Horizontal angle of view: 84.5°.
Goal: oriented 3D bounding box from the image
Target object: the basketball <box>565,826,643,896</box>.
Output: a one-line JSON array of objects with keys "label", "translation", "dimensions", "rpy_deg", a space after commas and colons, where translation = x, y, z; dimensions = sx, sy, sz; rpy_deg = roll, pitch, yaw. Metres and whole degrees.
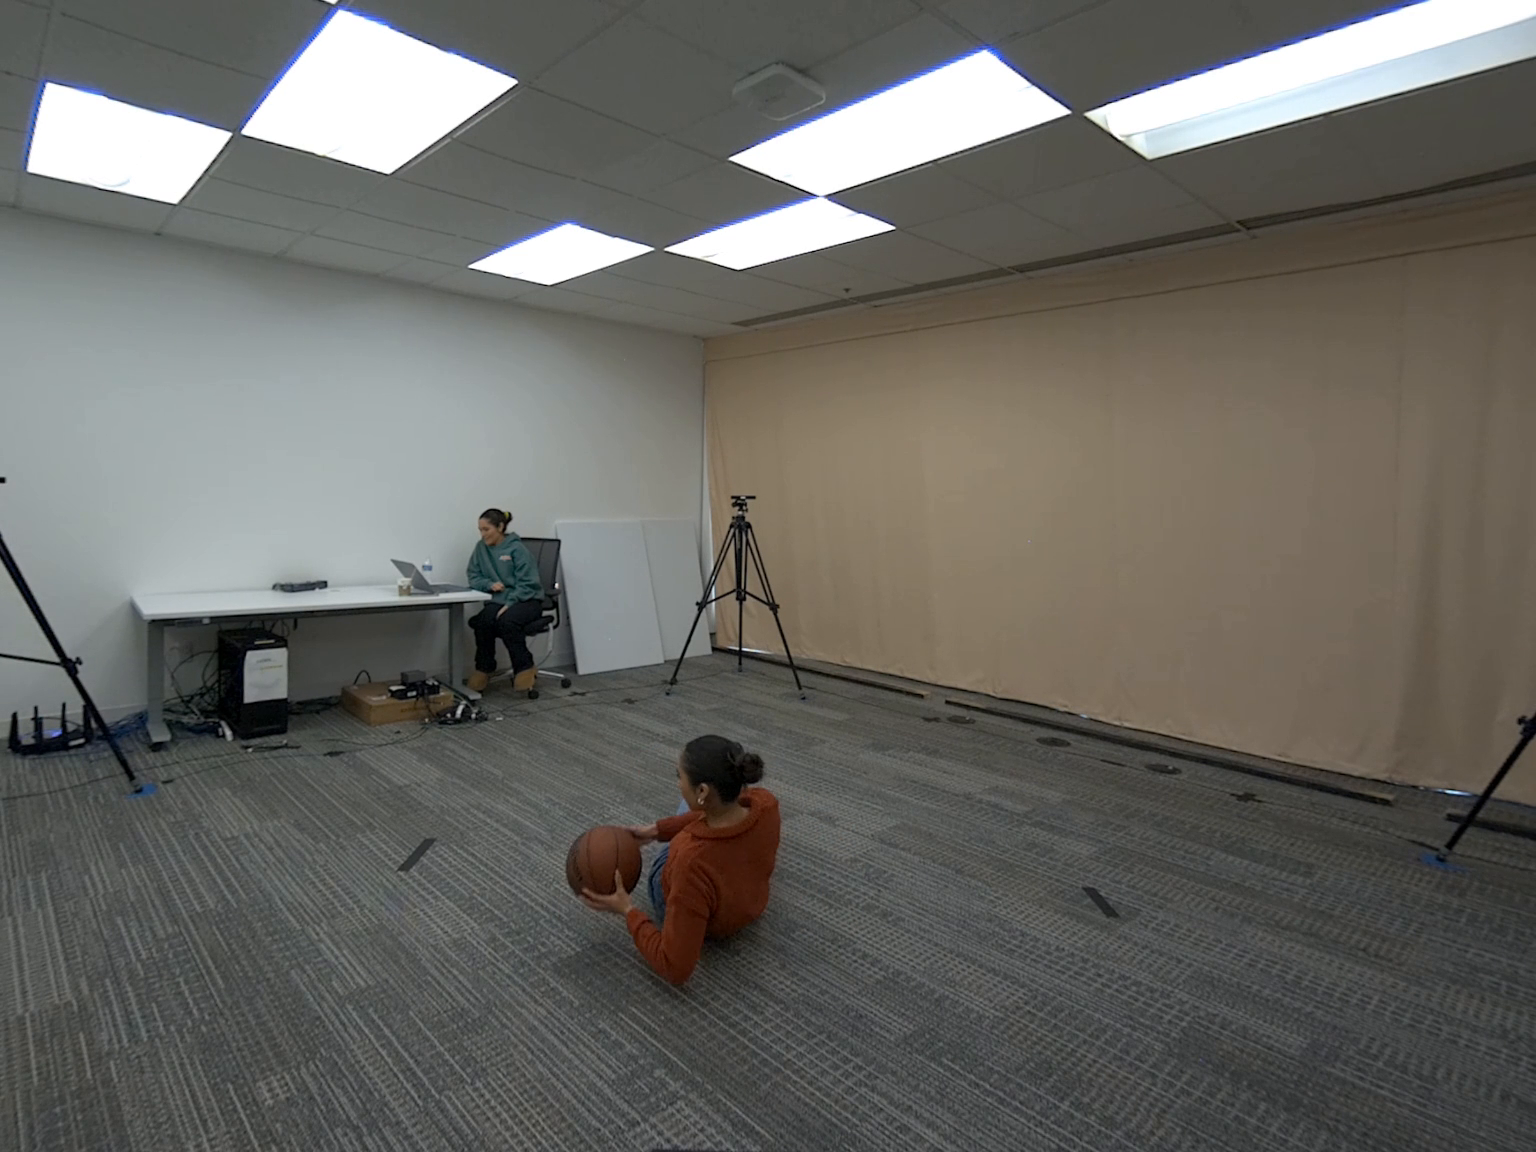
[{"label": "basketball", "translation": [-0.495, 0.880, 2.633], "dimensions": [0.236, 0.235, 0.237], "rpy_deg": [1, 4, -1]}]
